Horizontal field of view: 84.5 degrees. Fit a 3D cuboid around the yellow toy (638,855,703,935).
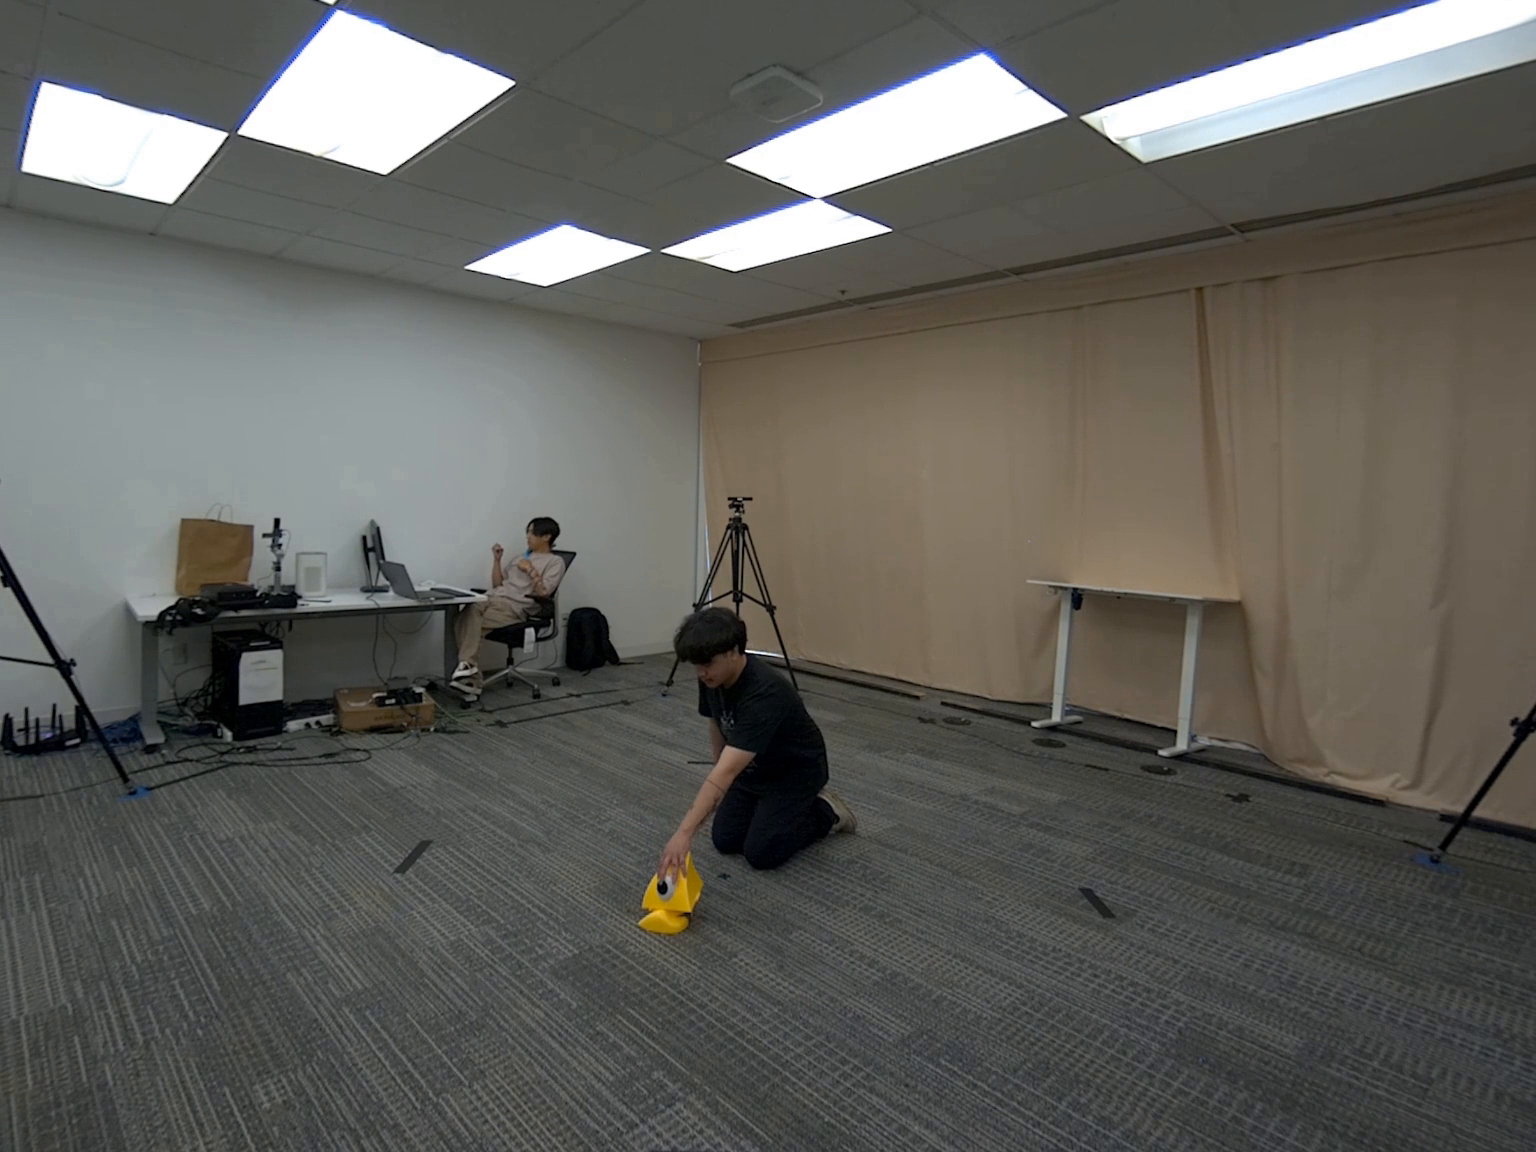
[{"bbox_3d":[-0.329,1.020,2.778,0.194,0.230,0.204,3,4,9],"label":"yellow toy"}]
